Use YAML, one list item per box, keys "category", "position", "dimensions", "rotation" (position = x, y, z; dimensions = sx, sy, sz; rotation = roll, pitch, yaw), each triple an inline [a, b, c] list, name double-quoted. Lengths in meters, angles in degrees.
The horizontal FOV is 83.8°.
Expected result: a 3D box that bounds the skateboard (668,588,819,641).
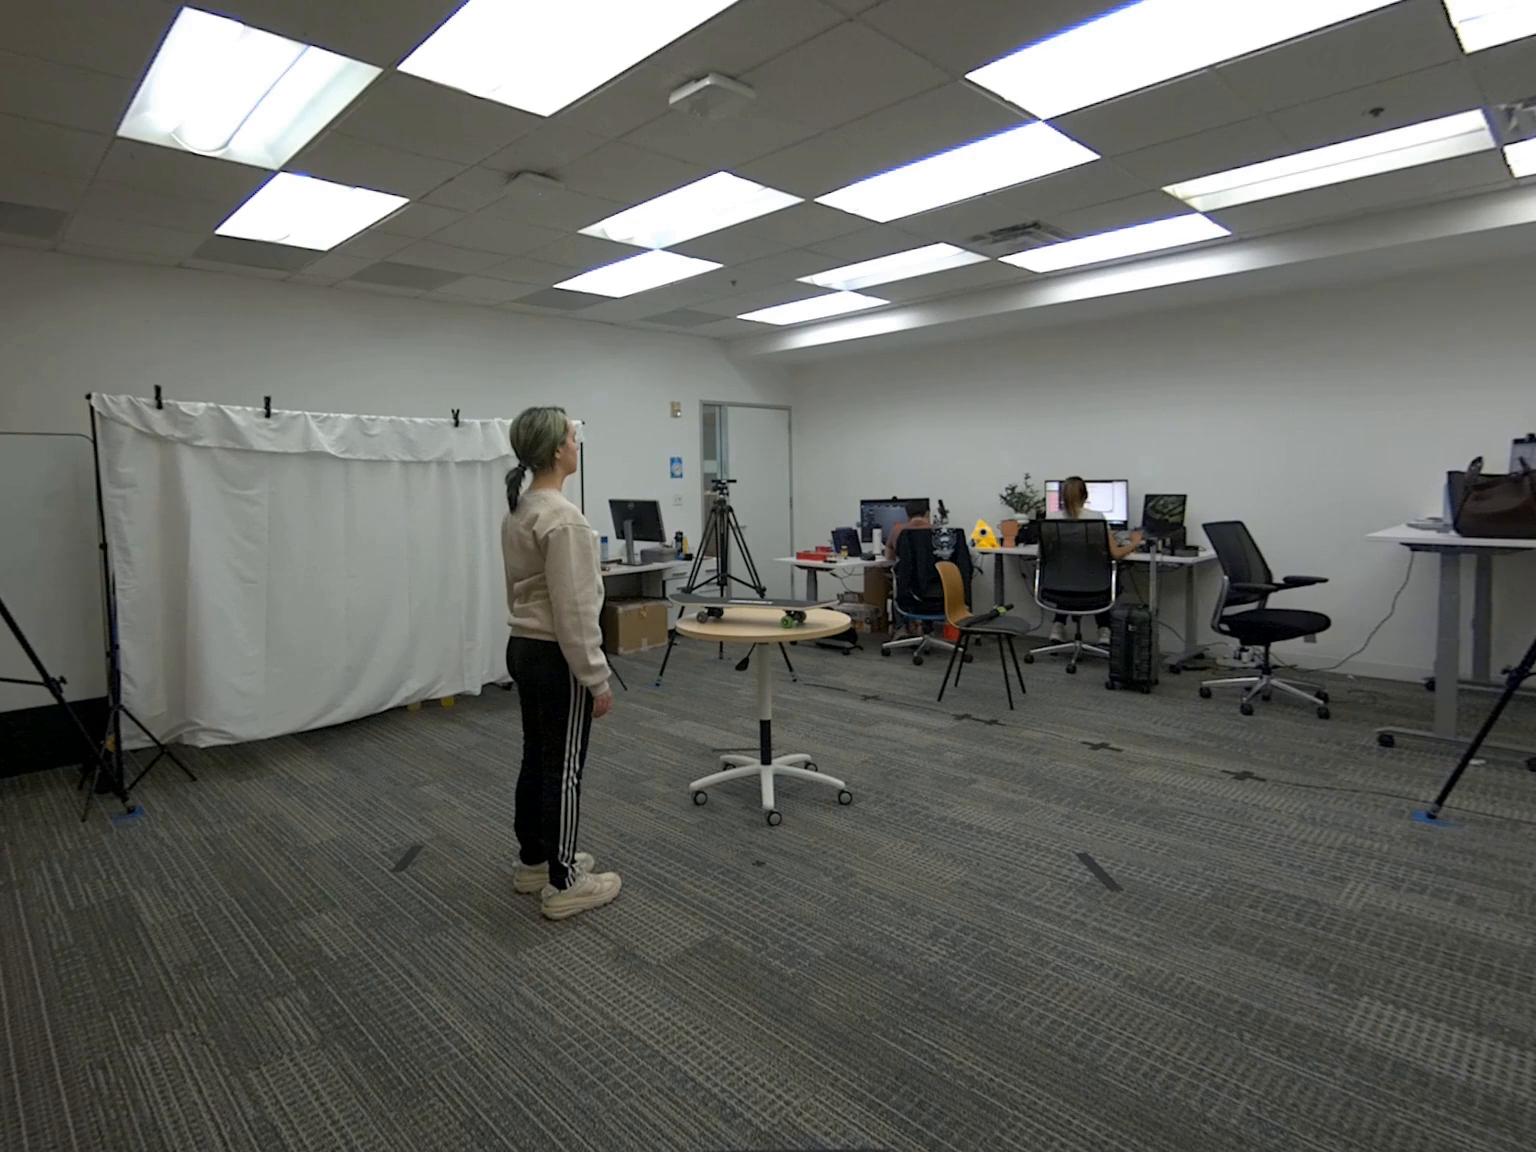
- category: "skateboard"
  position: [-0.070, 0.153, 3.685]
  dimensions: [0.804, 0.110, 0.189]
  rotation: [1, 5, 27]
